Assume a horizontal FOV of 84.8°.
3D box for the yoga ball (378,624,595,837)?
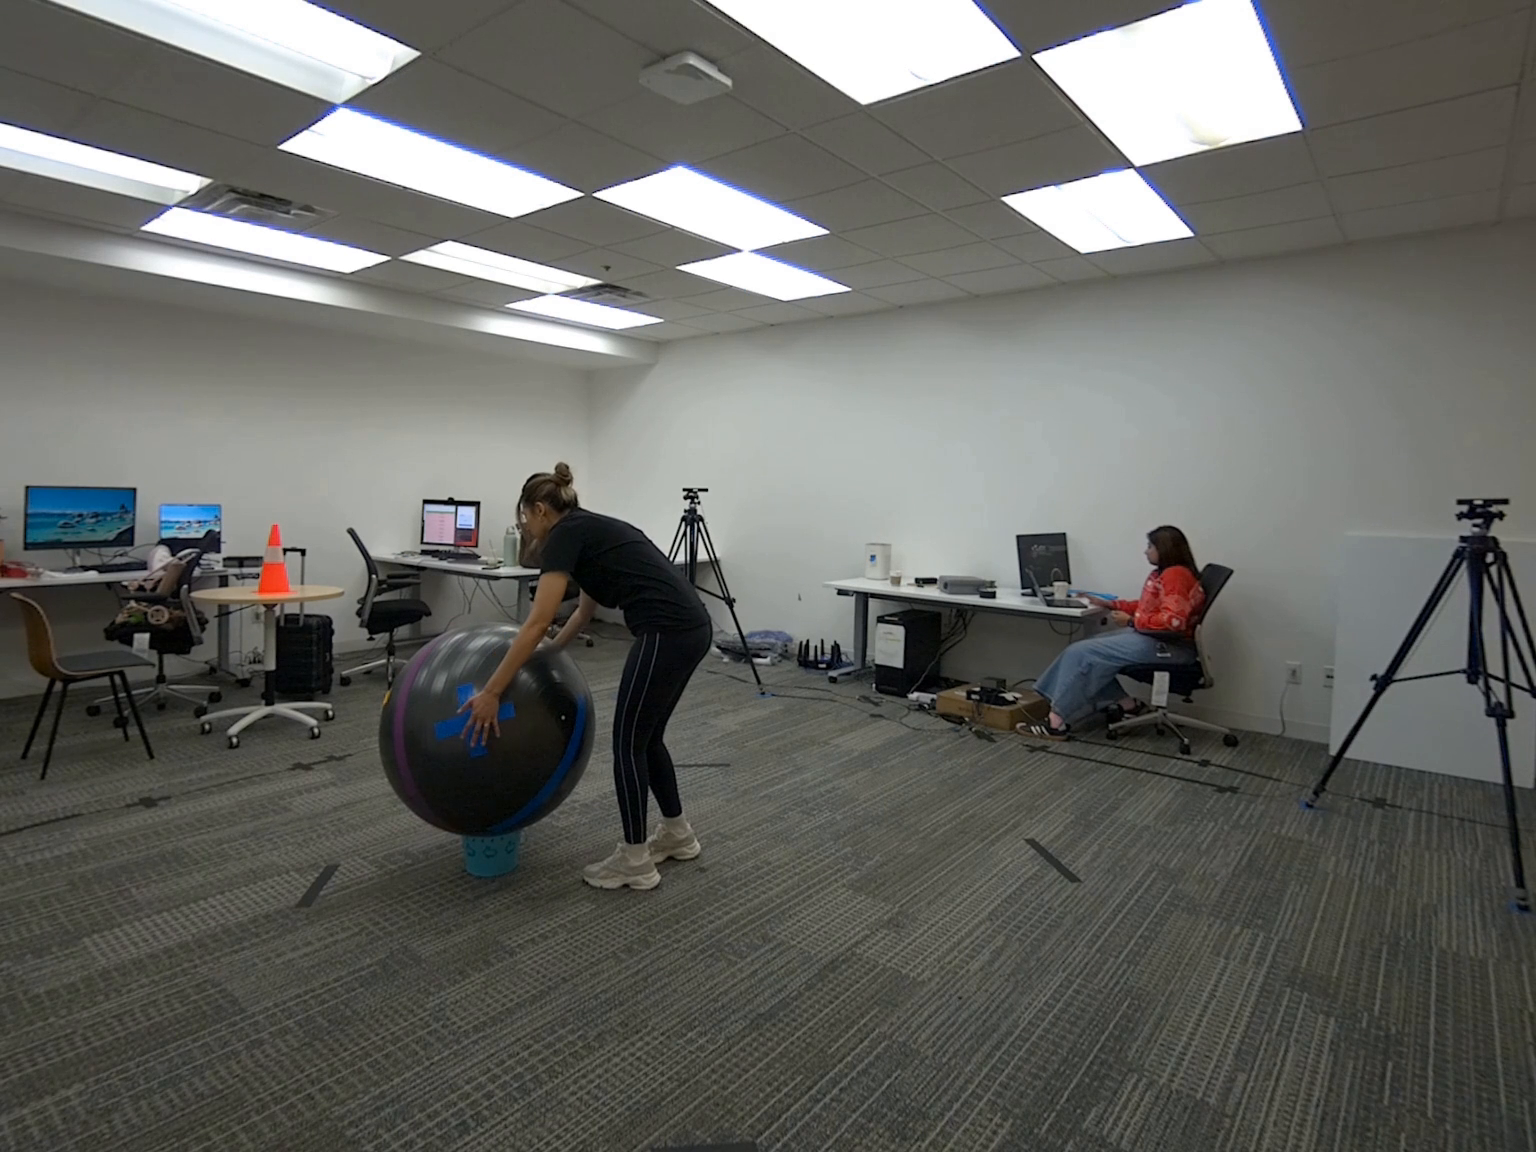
[{"bbox_3d":[-1.021,0.551,3.080,0.757,0.756,0.762,1,4,-2],"label":"yoga ball"}]
